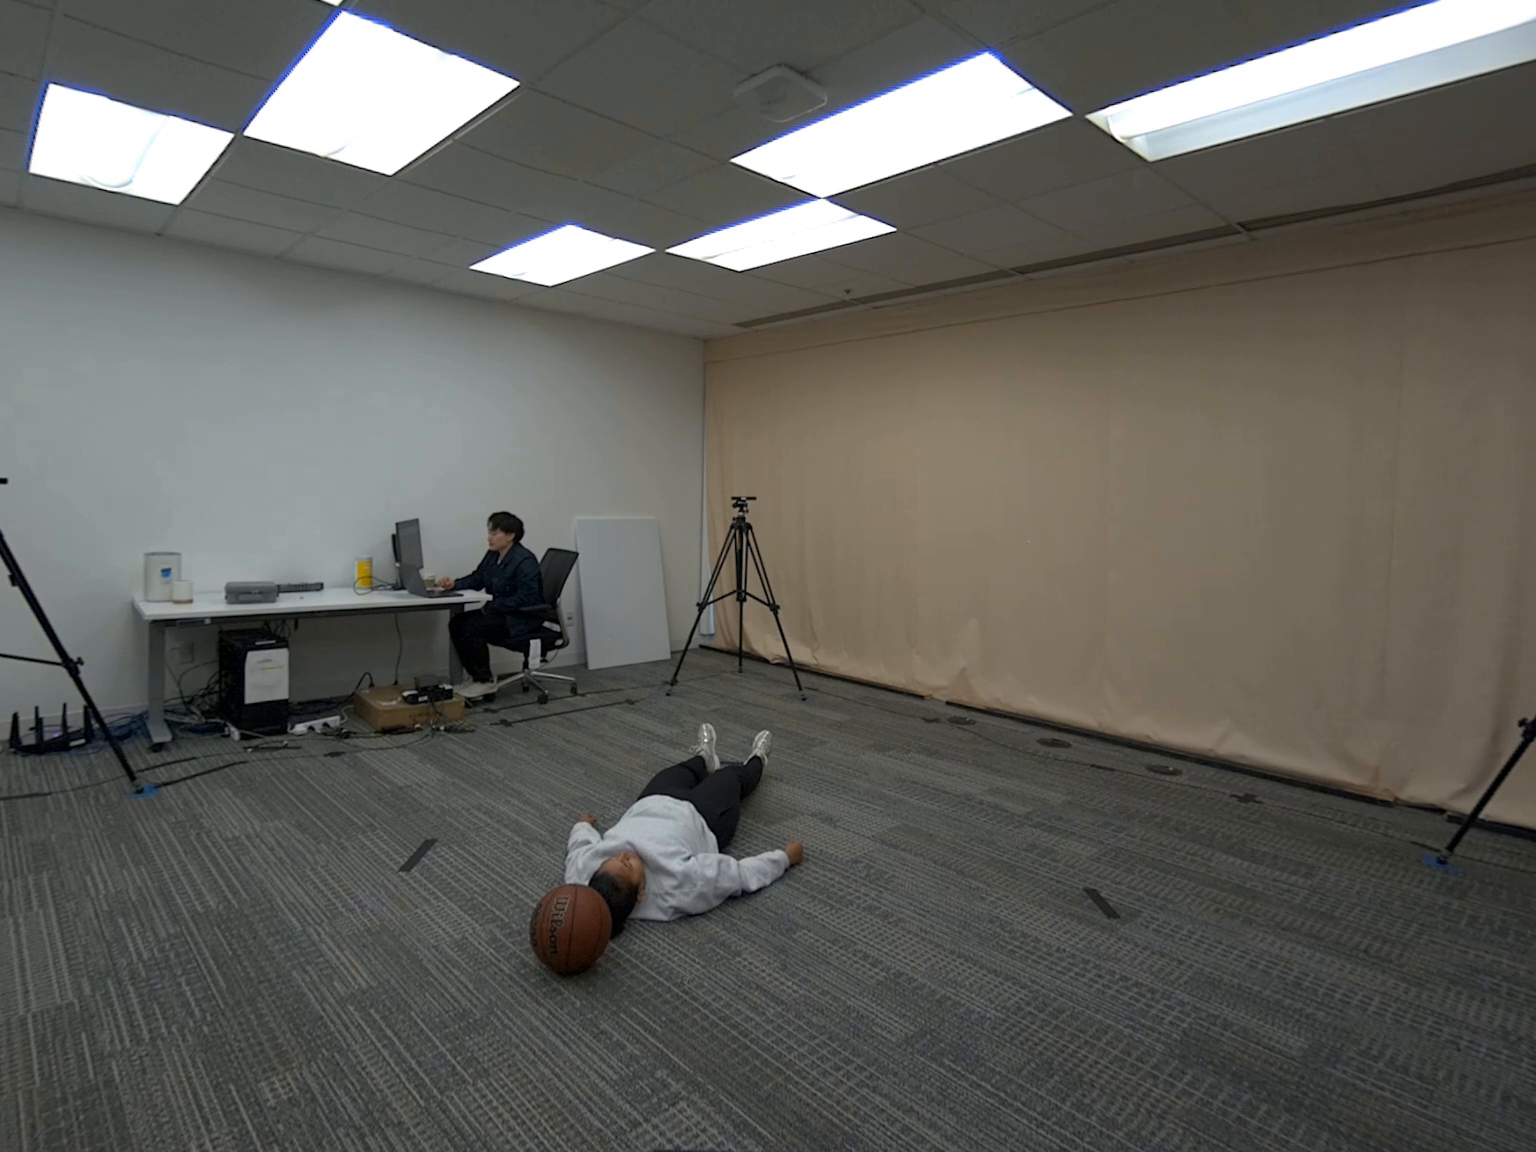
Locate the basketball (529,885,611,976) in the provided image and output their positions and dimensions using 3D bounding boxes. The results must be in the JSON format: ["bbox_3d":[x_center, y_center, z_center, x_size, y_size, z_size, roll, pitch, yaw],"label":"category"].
[{"bbox_3d":[-0.585,1.035,2.472,0.235,0.235,0.237,4,7,-2],"label":"basketball"}]
